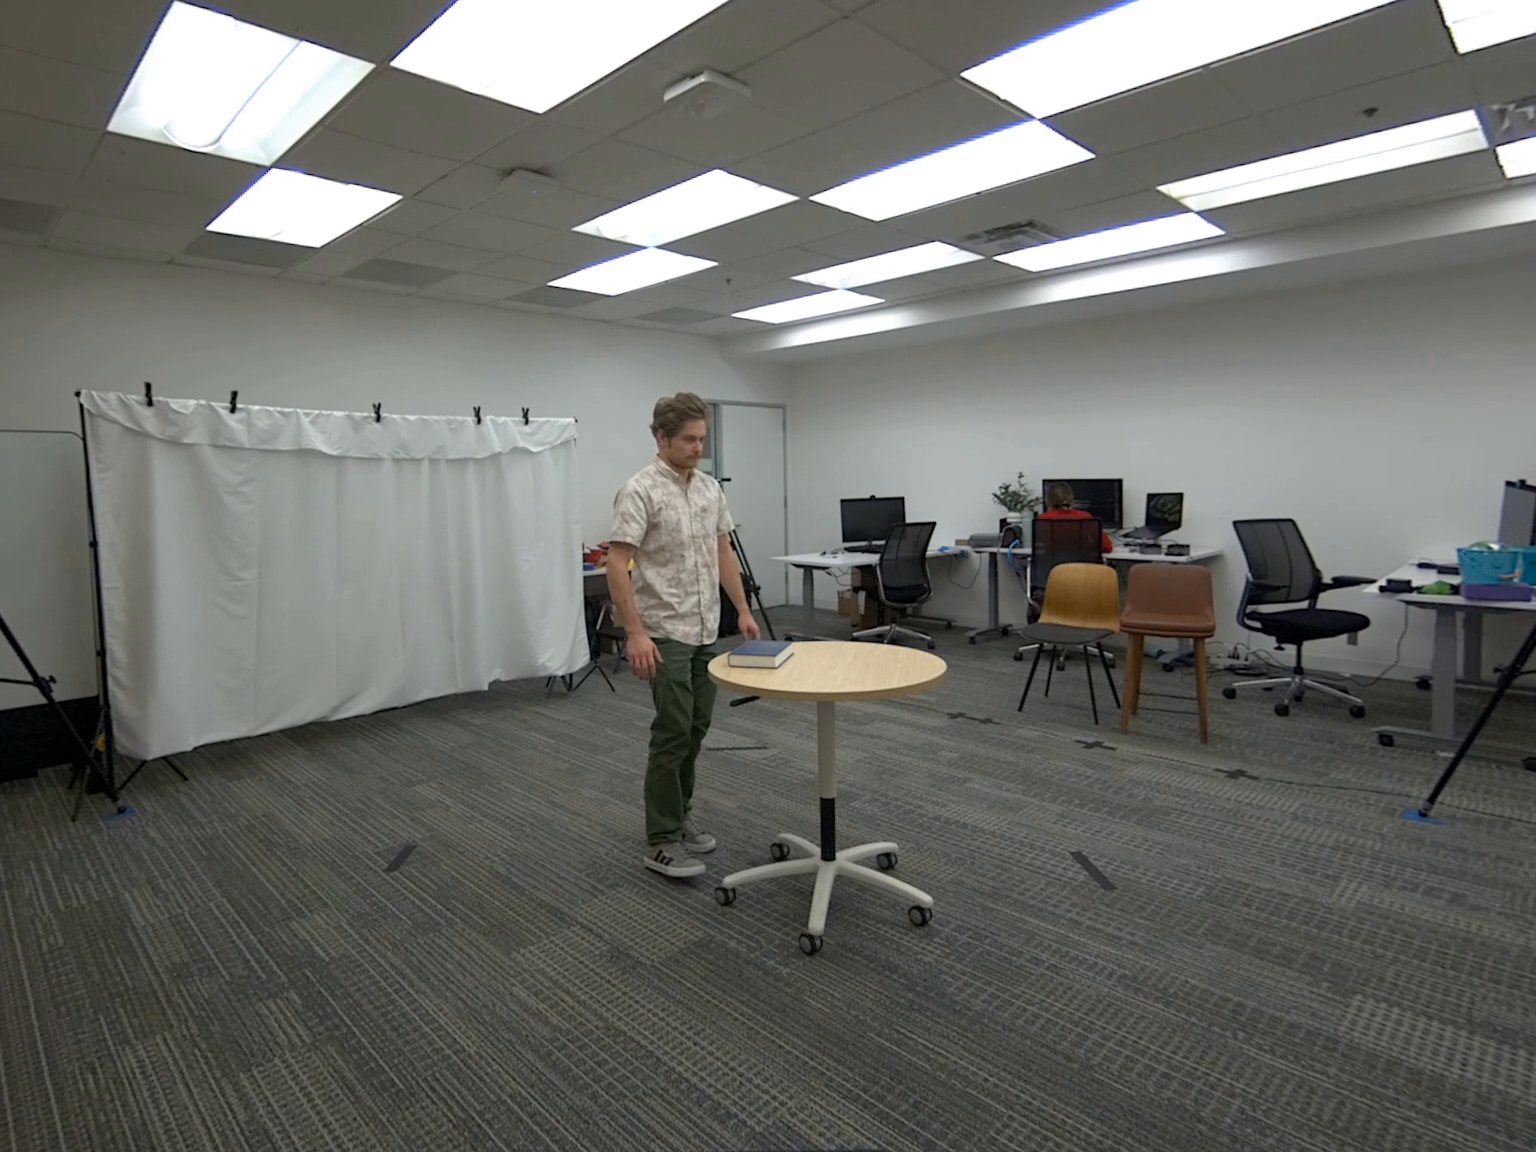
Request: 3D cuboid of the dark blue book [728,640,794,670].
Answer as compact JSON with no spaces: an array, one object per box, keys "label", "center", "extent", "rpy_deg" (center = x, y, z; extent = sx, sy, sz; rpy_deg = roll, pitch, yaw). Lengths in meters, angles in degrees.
[{"label":"dark blue book","center":[-0.017,0.261,2.848],"extent":[0.166,0.045,0.242],"rpy_deg":[1,6,16]}]
